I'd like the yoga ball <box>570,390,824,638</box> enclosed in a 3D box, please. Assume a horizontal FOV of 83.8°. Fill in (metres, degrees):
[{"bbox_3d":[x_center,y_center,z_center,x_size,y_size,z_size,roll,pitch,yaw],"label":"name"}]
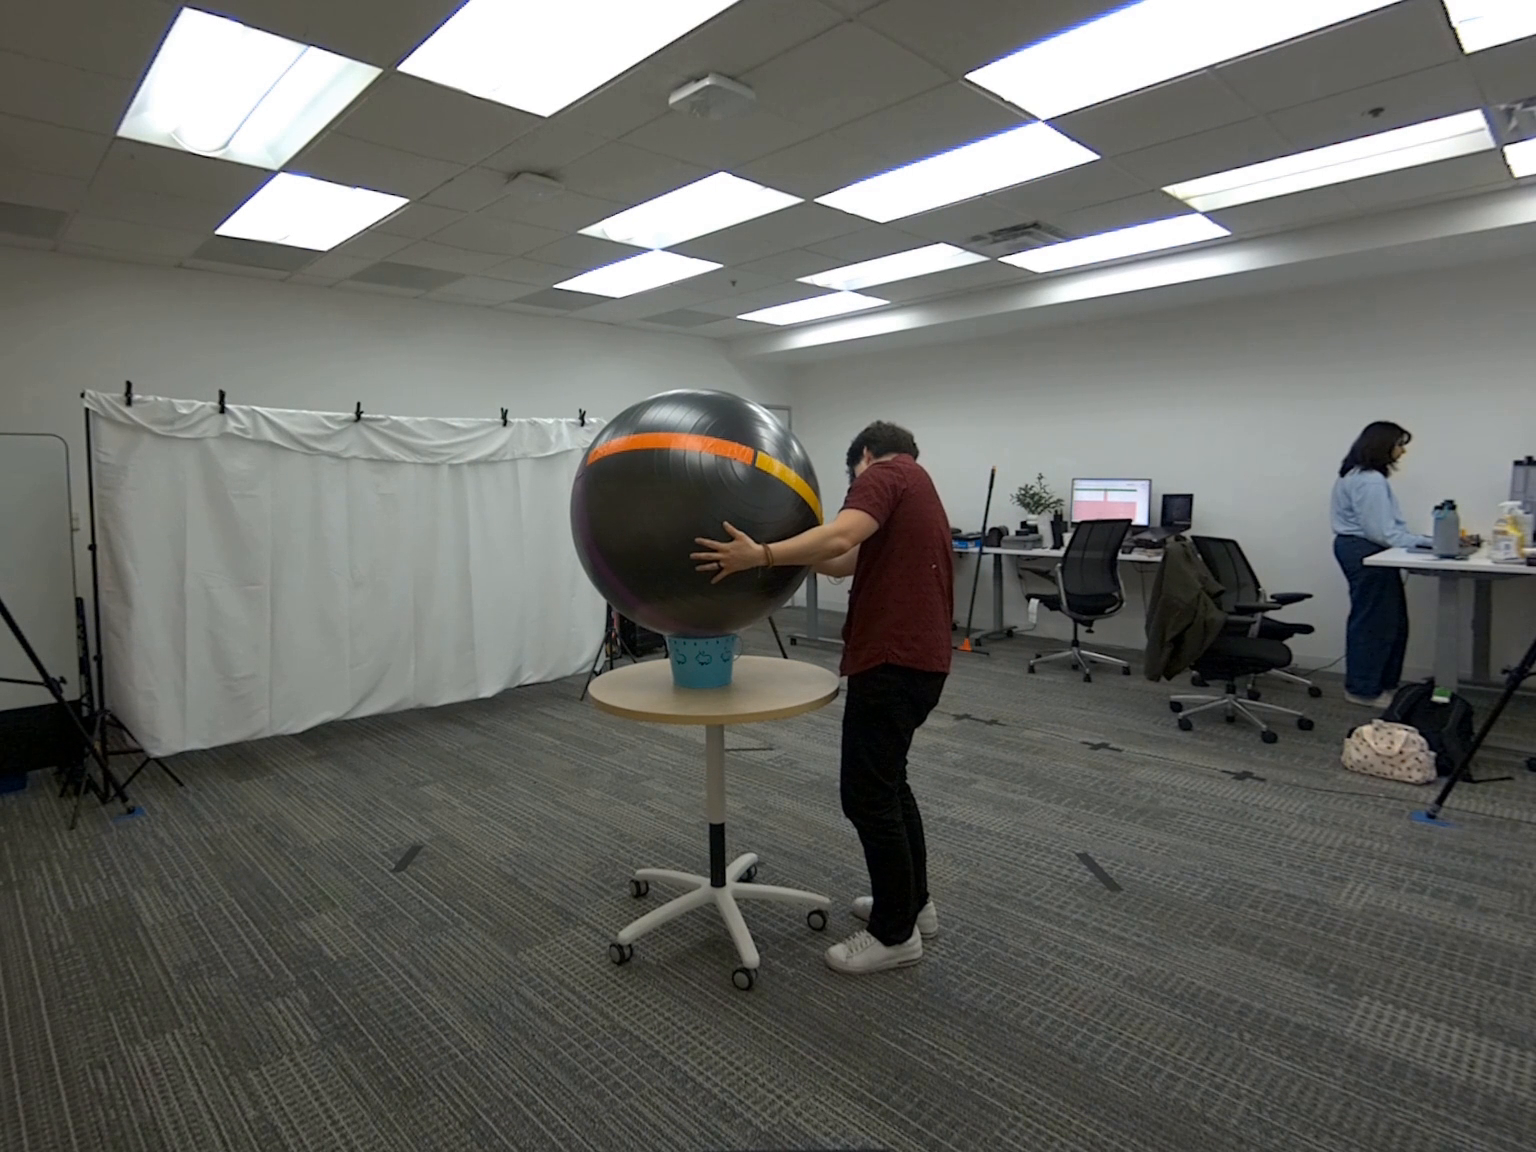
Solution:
[{"bbox_3d":[-0.215,-0.184,2.592,0.757,0.755,0.762,-1,5,-2],"label":"yoga ball"}]
